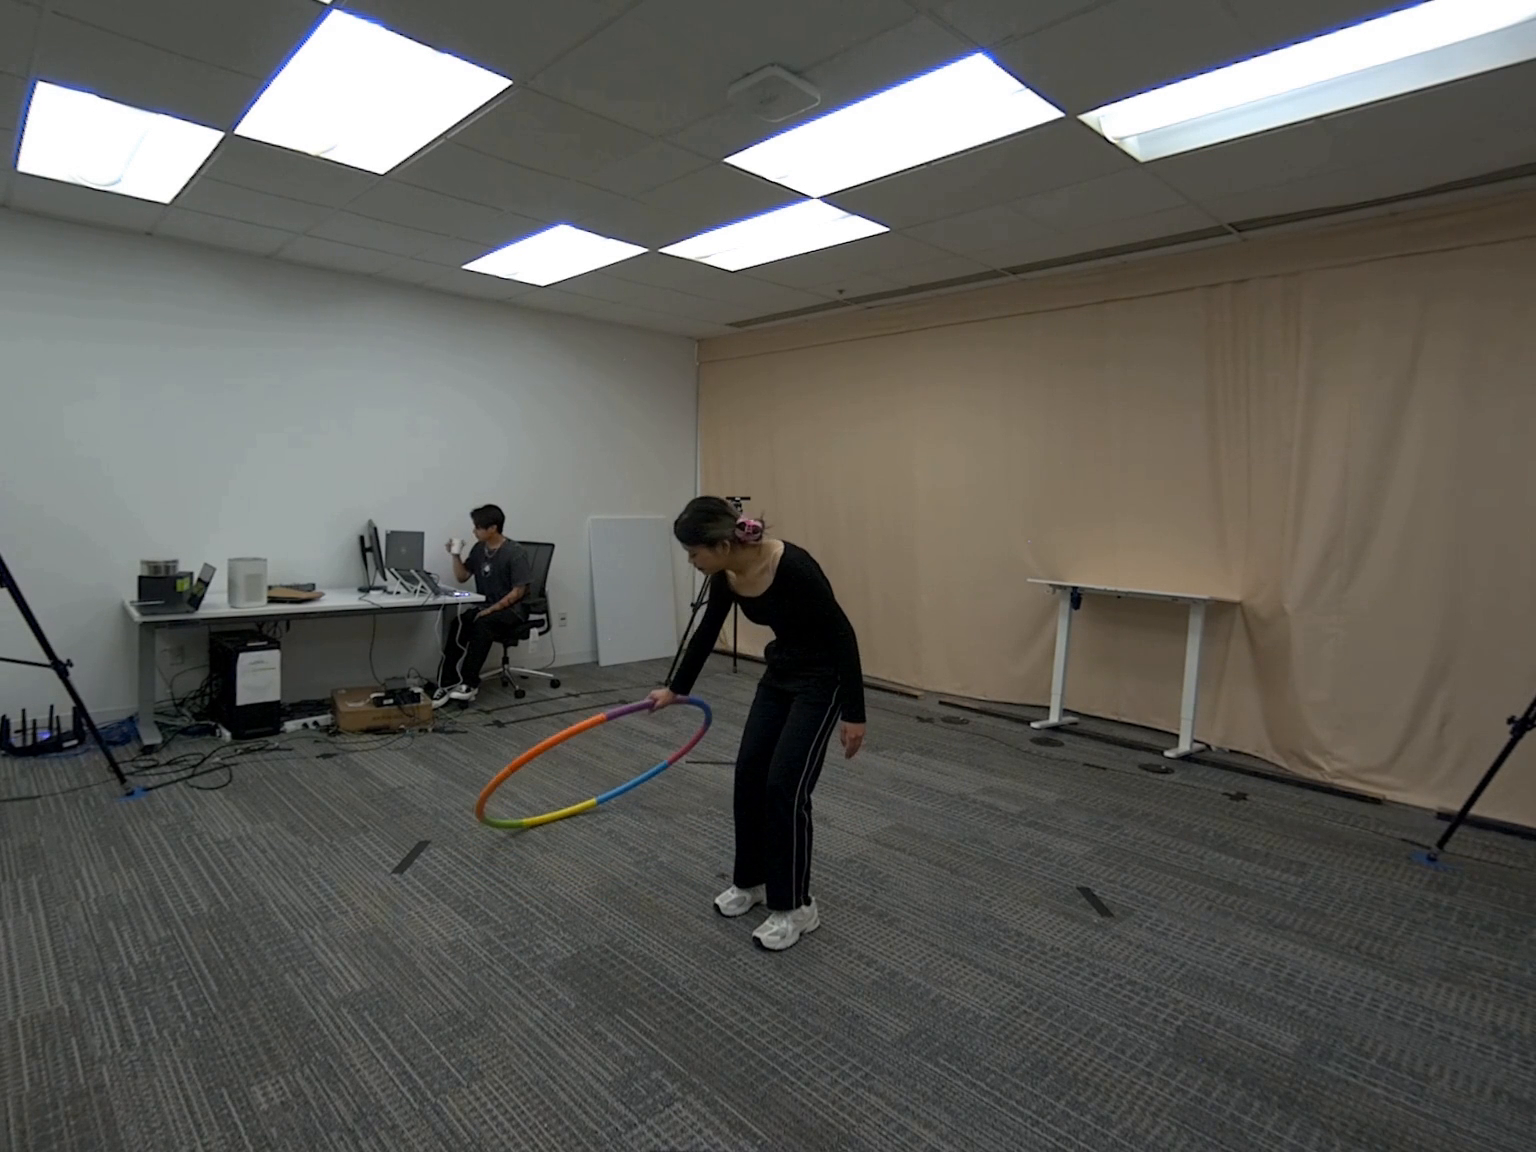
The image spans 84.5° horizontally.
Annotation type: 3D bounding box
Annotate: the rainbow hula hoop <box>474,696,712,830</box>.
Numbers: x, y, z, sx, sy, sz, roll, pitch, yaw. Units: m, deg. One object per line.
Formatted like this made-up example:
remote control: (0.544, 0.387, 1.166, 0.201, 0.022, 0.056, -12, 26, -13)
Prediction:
rainbow hula hoop: (-0.664, 0.738, 3.303, 0.973, 0.036, 0.961, -23, -25, -13)
